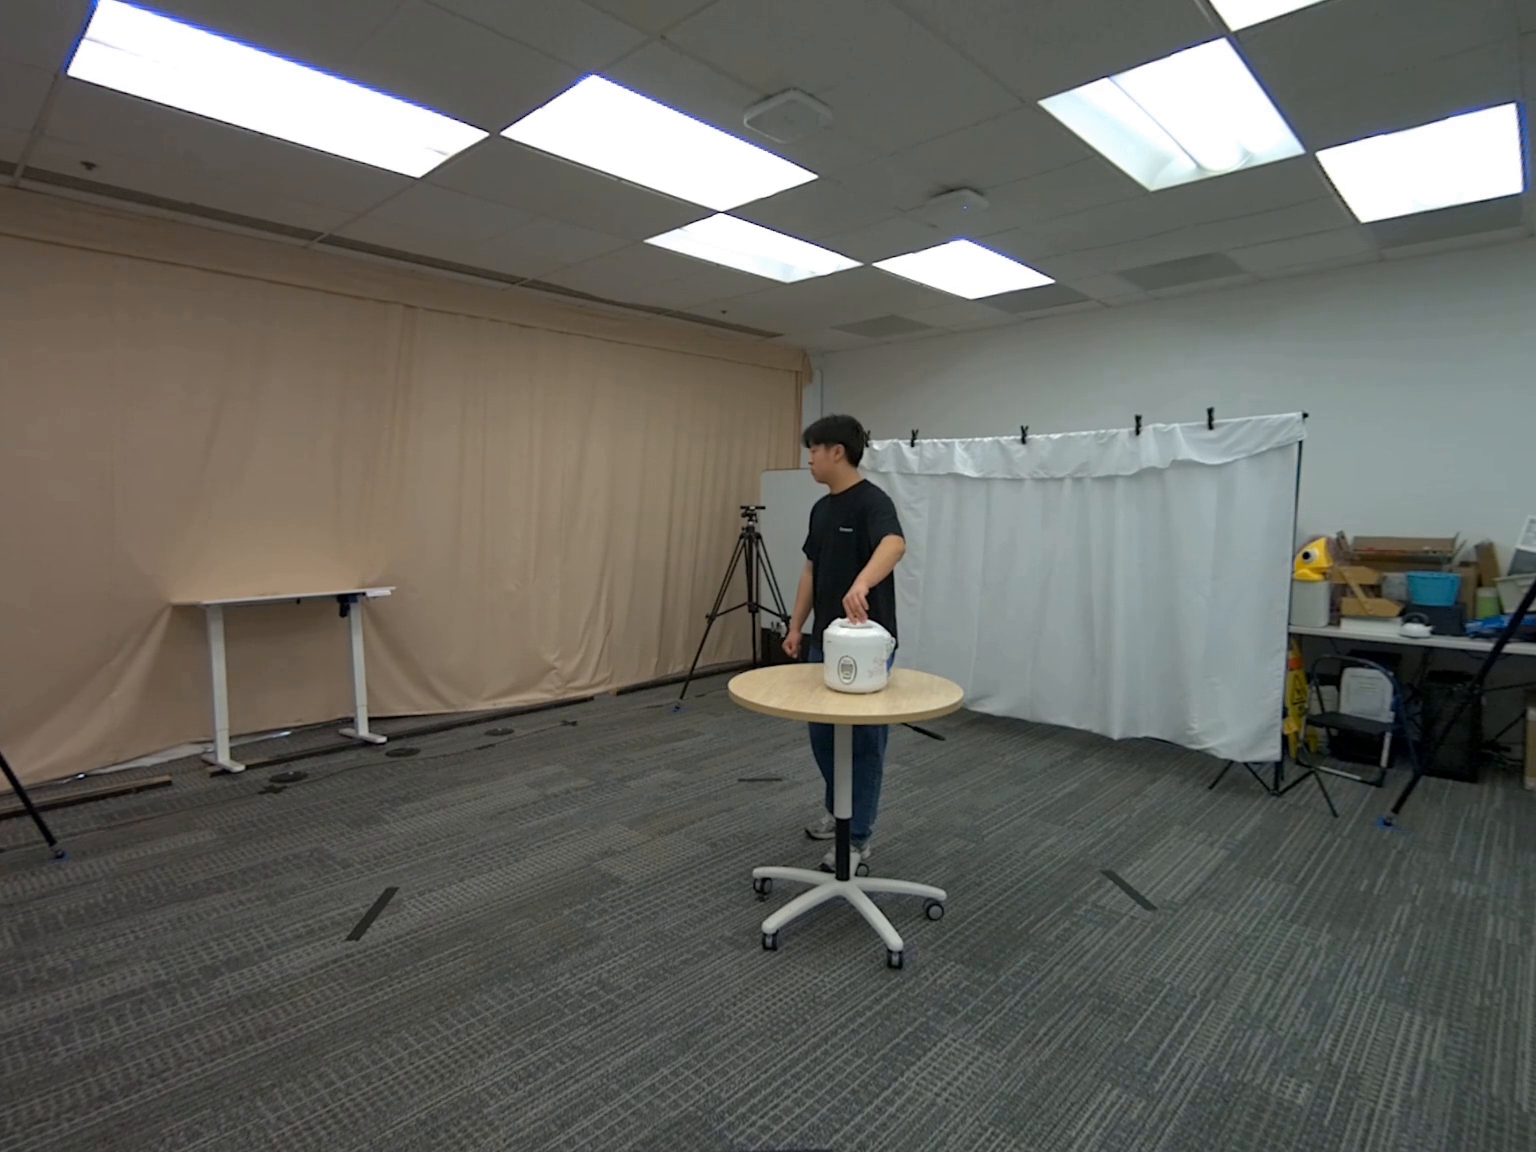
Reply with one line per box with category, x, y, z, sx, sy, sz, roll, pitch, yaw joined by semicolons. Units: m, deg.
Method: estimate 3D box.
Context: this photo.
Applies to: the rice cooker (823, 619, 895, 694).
rice cooker;0.293;0.251;2.746;0.226;0.232;0.213;2;4;23
